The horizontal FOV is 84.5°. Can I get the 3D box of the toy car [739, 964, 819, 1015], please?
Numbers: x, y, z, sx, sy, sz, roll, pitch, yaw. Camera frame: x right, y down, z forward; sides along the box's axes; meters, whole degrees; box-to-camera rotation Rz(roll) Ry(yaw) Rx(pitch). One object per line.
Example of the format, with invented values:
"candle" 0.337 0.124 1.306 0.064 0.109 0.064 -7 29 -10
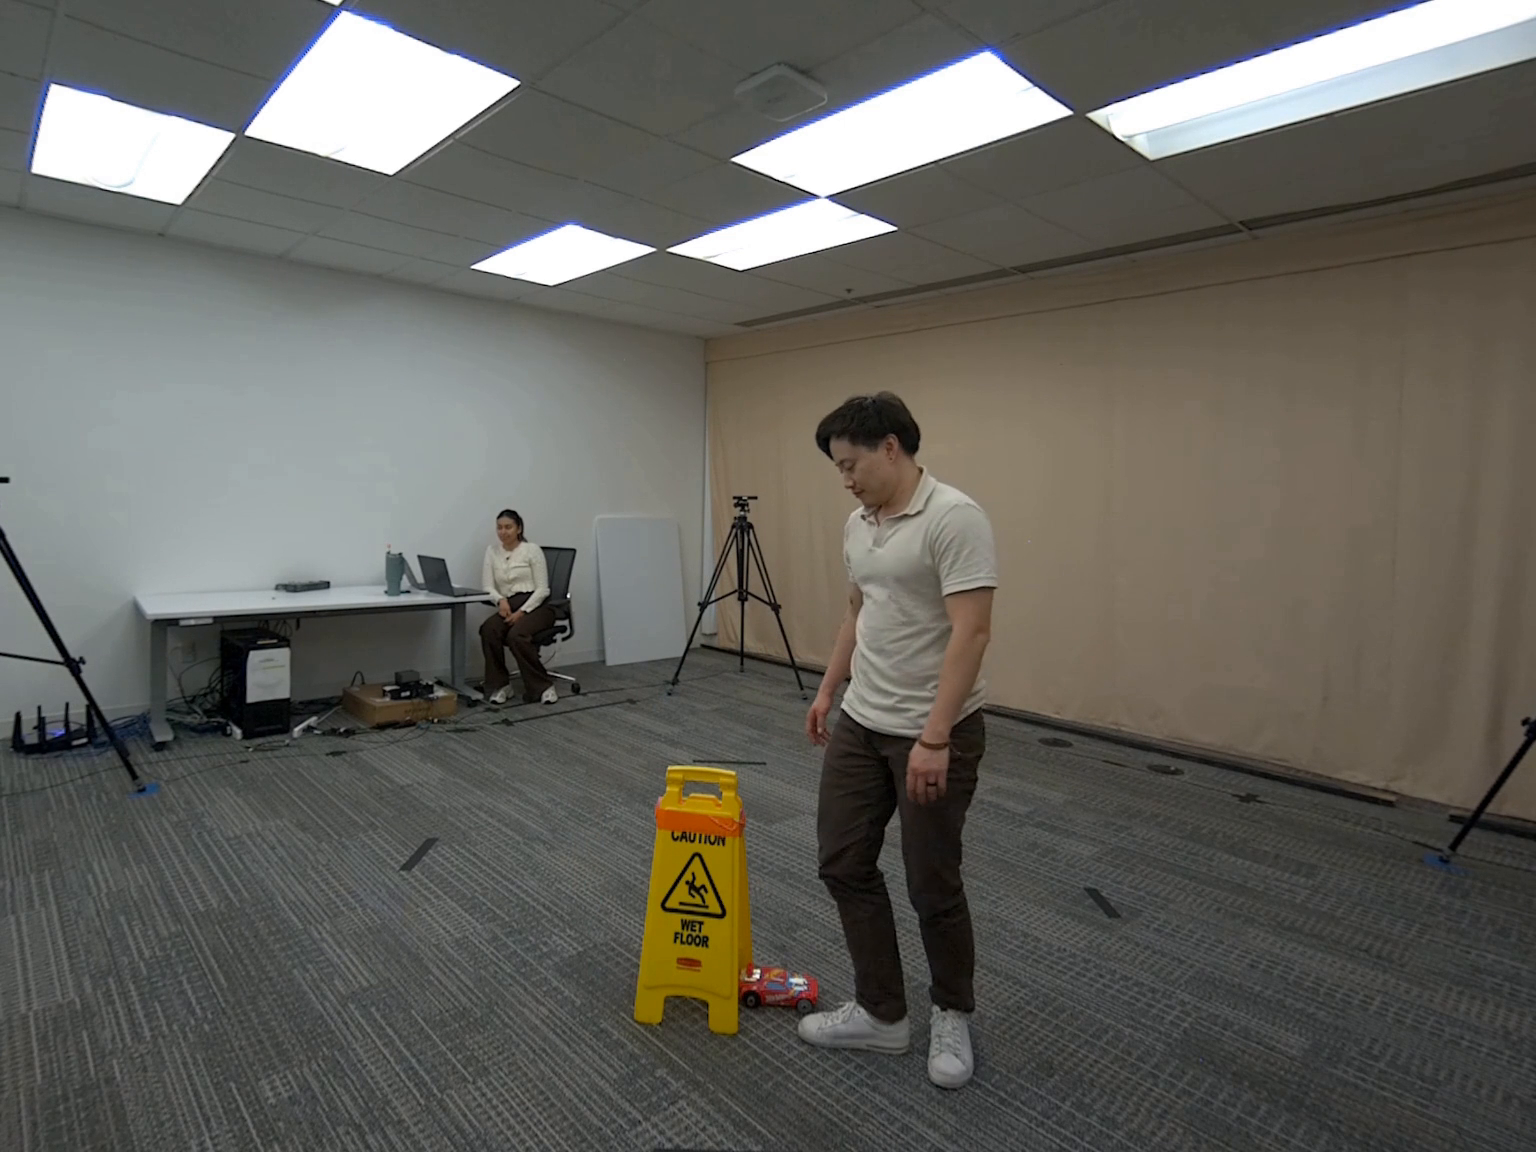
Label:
"toy car" 0.005 1.148 2.332 0.256 0.083 0.130 13 6 6
